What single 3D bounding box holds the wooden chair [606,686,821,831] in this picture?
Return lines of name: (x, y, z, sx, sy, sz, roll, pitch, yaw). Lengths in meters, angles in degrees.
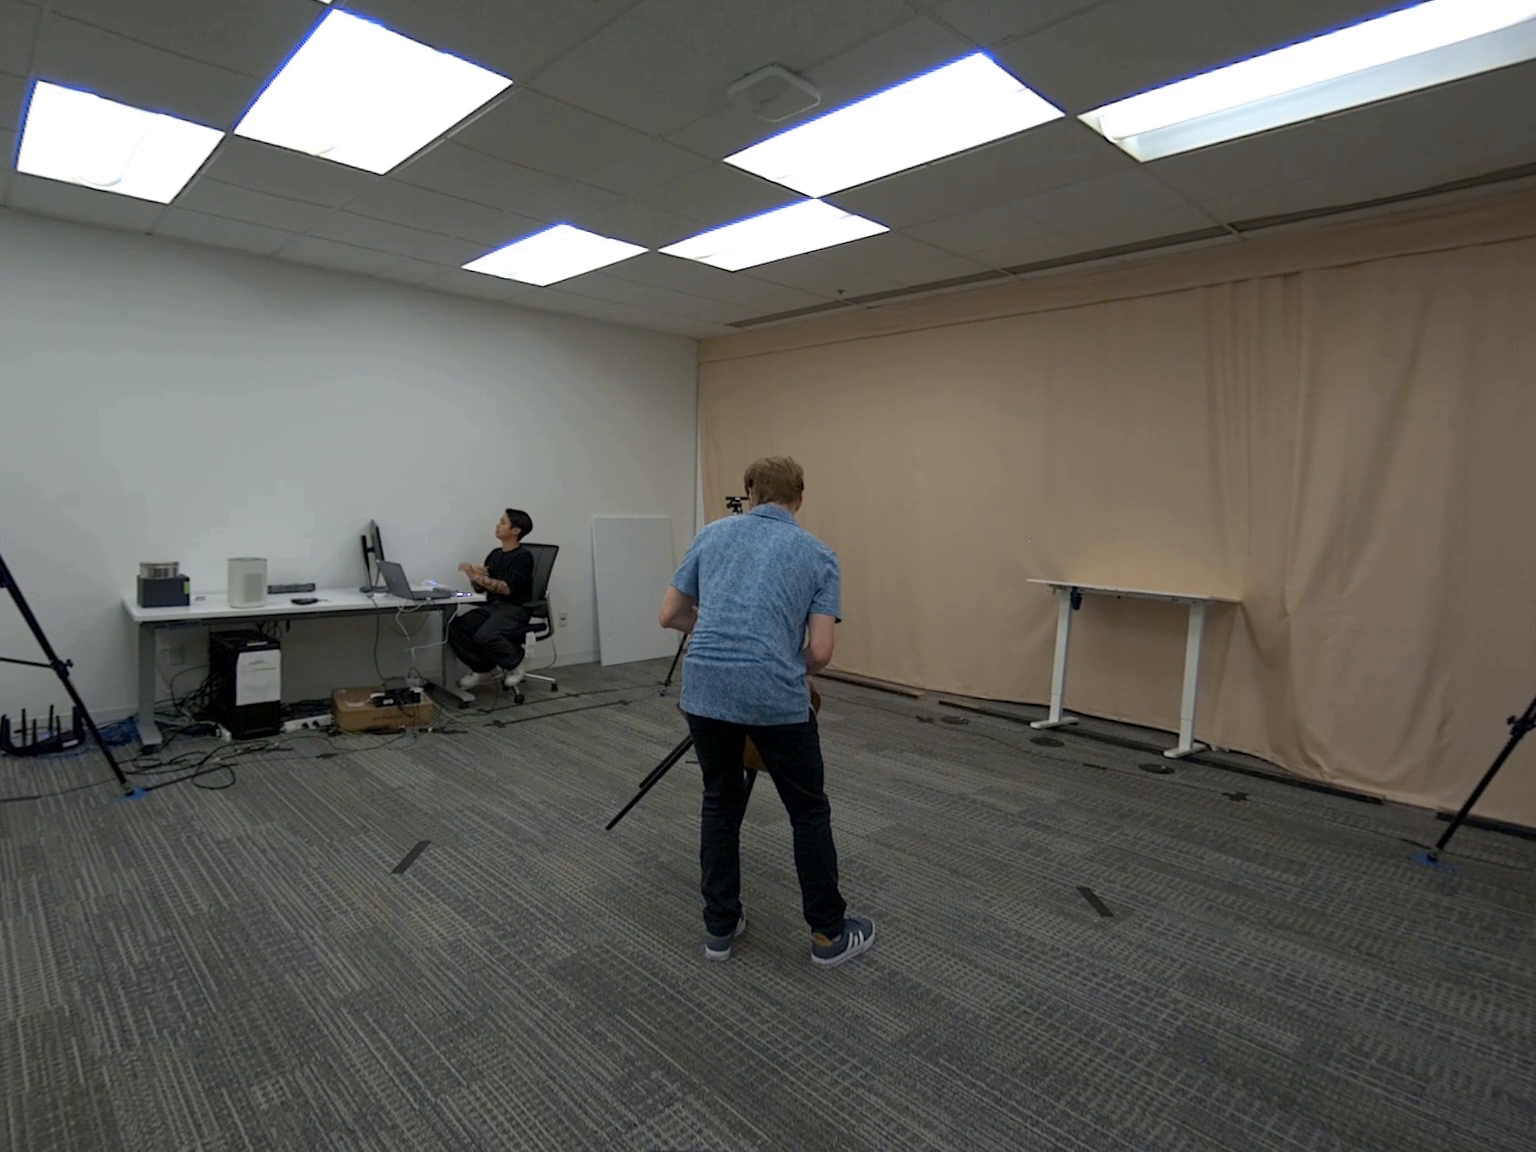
wooden chair: (-0.149, 0.632, 3.118, 0.482, 0.874, 0.521, 31, 12, 6)
